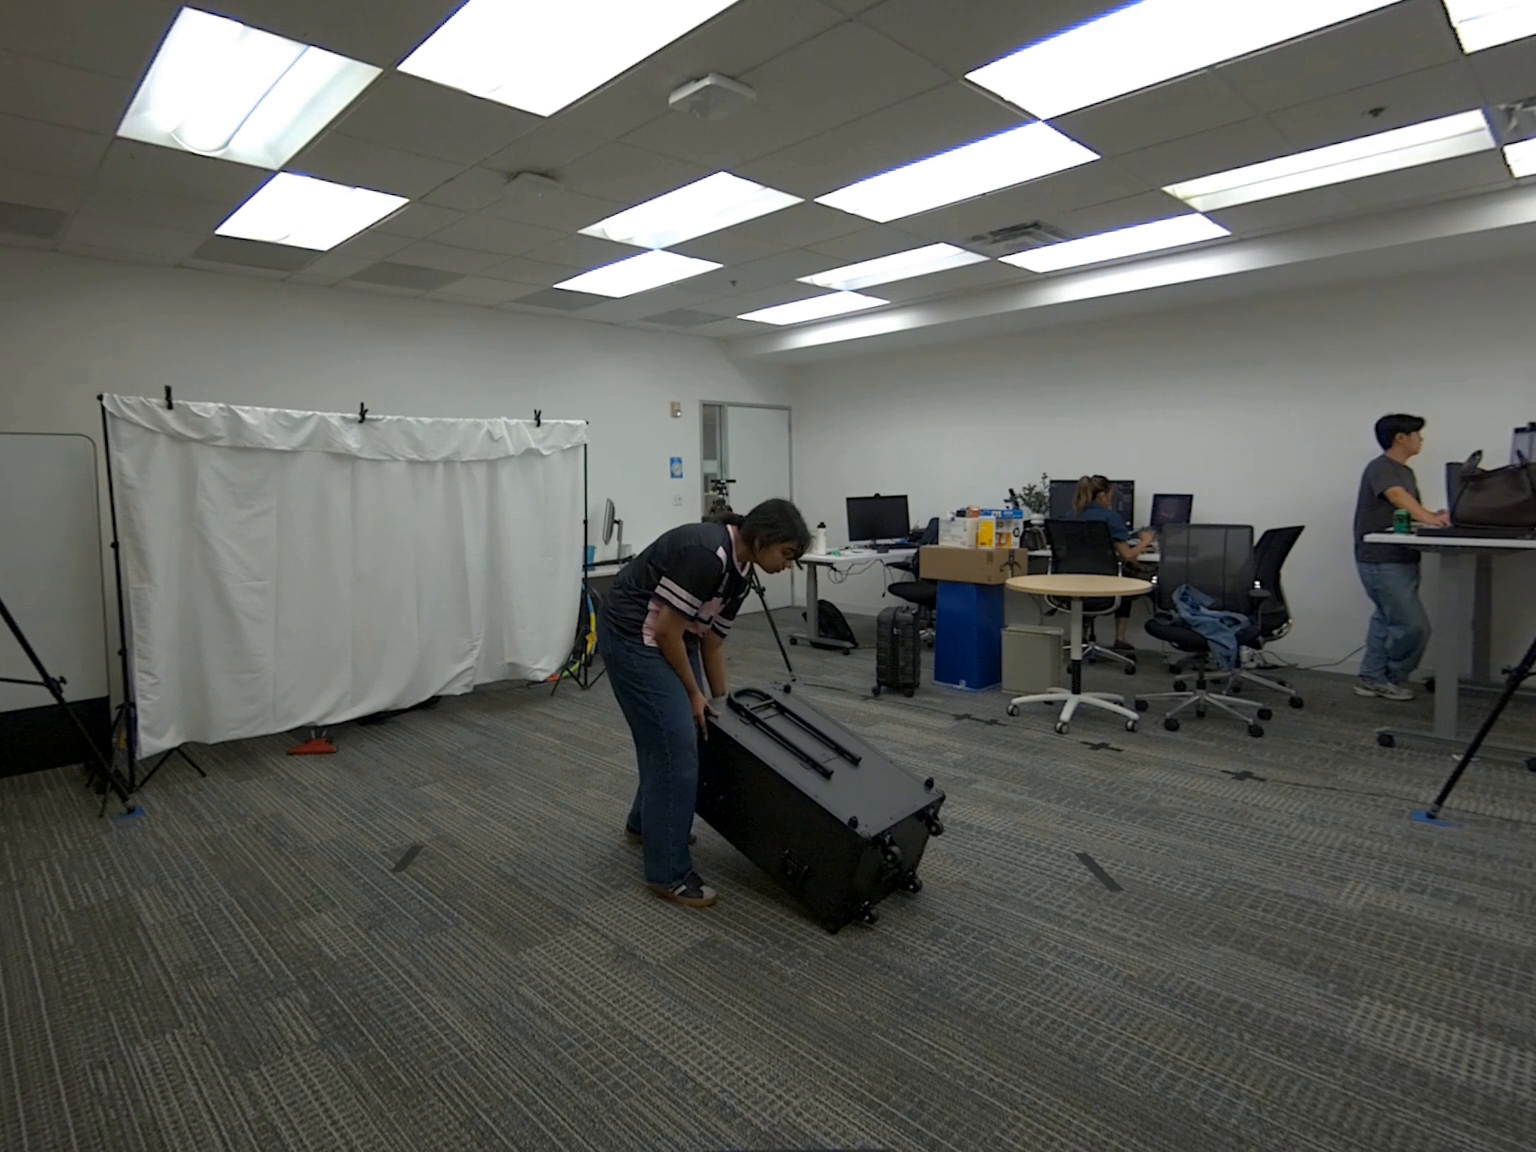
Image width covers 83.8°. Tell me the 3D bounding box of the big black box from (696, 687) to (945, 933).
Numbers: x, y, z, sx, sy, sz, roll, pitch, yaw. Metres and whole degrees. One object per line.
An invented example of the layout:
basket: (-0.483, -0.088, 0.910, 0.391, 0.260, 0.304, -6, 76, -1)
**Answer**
big black box: (0.156, 0.767, 2.959, 0.901, 0.381, 0.509, 30, 22, 37)
